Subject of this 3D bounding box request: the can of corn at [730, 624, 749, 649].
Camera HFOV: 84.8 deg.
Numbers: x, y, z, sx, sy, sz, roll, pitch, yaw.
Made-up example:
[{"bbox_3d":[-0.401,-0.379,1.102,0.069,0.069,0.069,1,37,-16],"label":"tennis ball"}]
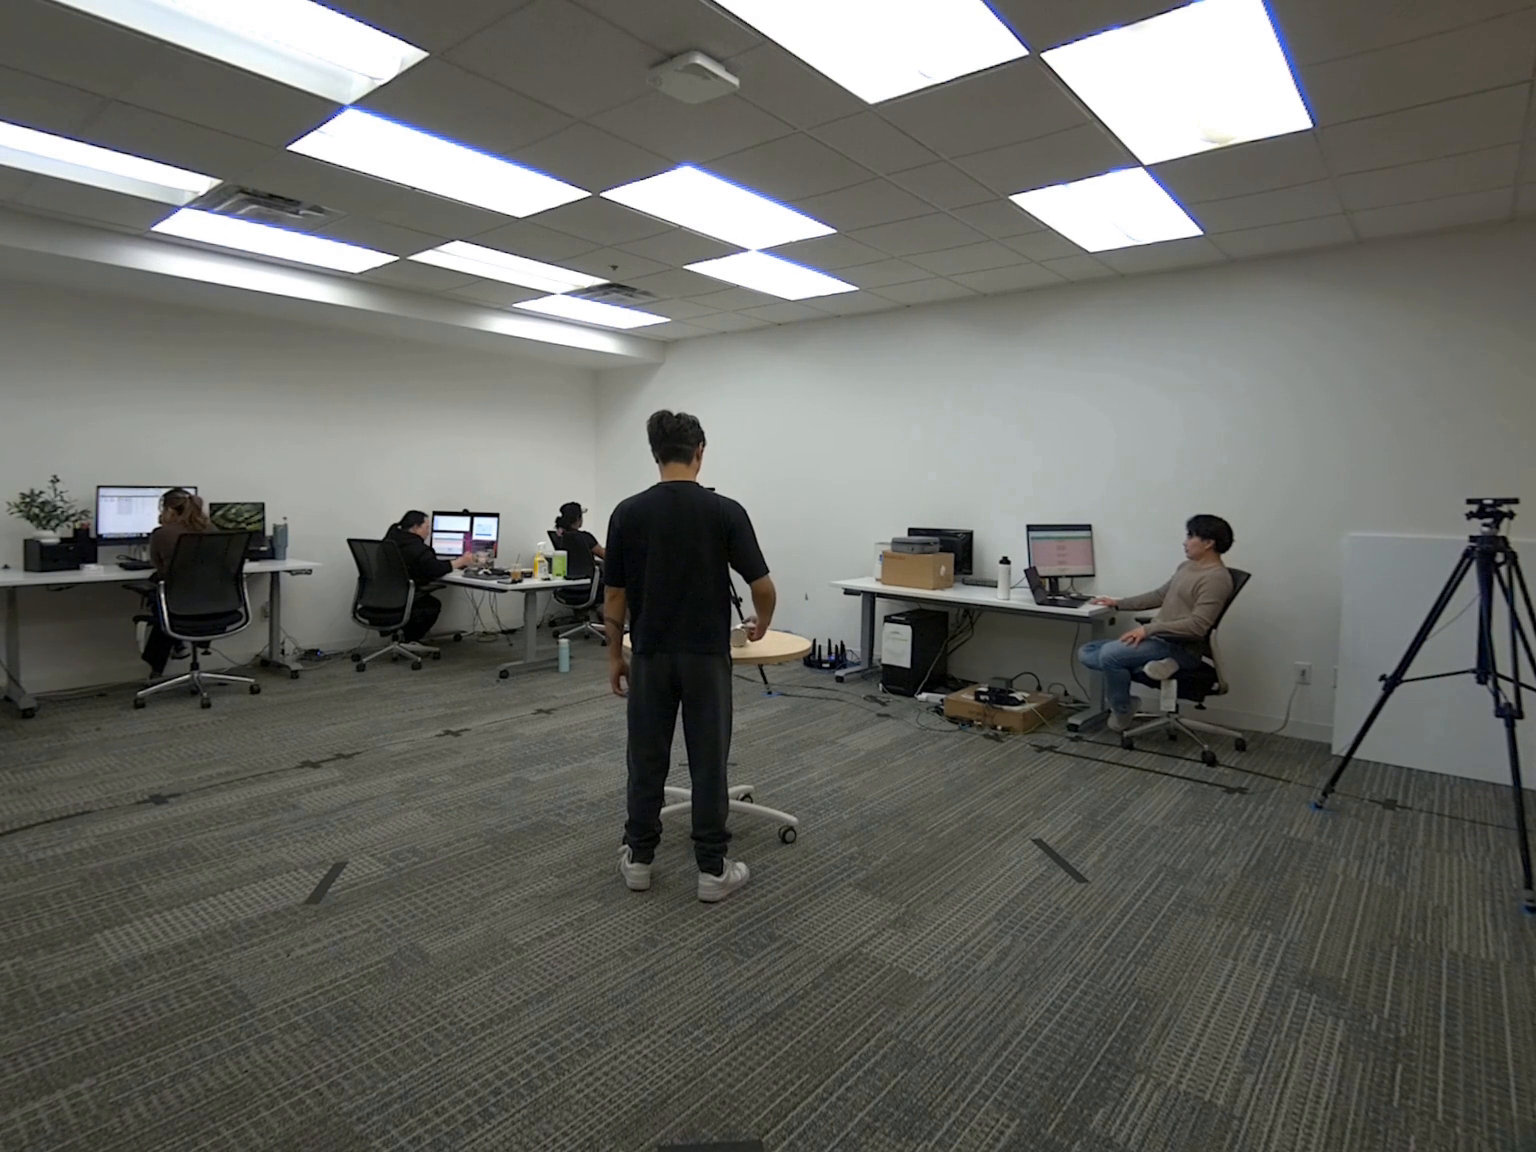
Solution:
[{"bbox_3d":[-0.123,0.227,3.317,0.074,0.074,0.111,1,5,-1],"label":"can of corn"}]
